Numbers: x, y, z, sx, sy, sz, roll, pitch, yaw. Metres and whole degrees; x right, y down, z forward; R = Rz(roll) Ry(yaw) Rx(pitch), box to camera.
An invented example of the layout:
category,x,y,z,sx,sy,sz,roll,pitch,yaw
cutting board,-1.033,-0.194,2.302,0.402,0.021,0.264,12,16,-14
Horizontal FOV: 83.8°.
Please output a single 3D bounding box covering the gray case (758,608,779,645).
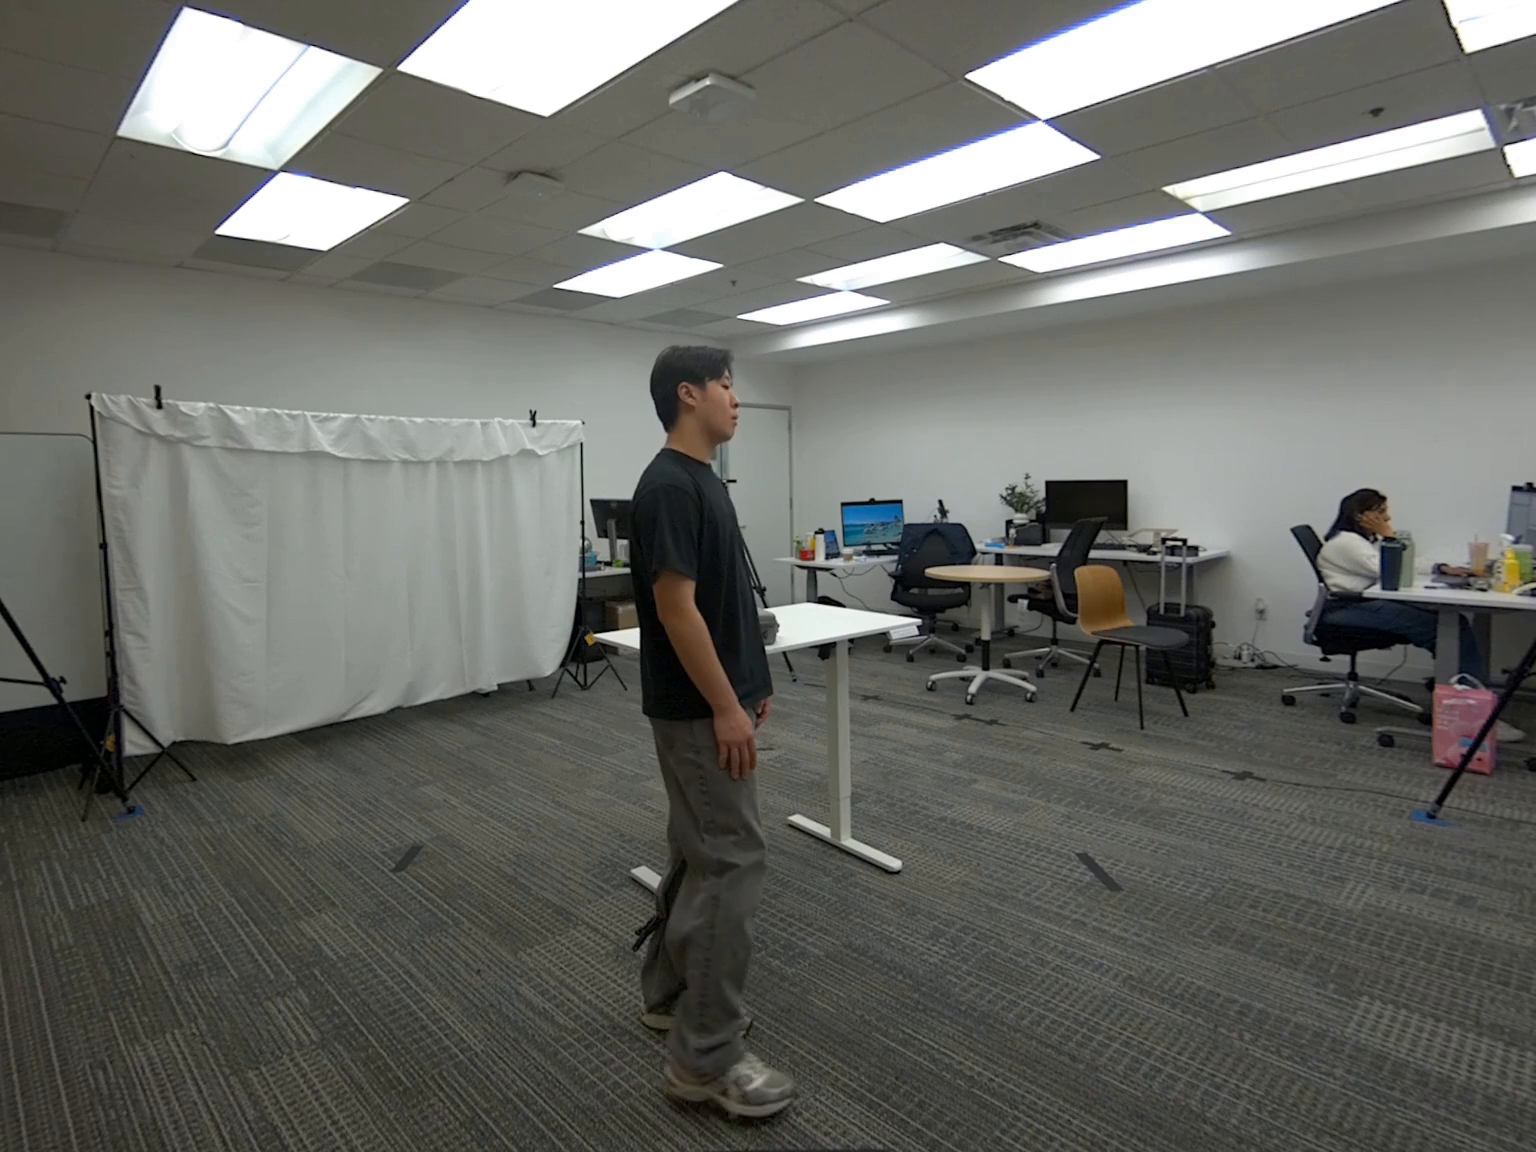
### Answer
category,x,y,z,sx,sy,sz,roll,pitch,yaw
gray case,-0.116,0.158,2.740,0.282,0.102,0.269,-3,7,-22
